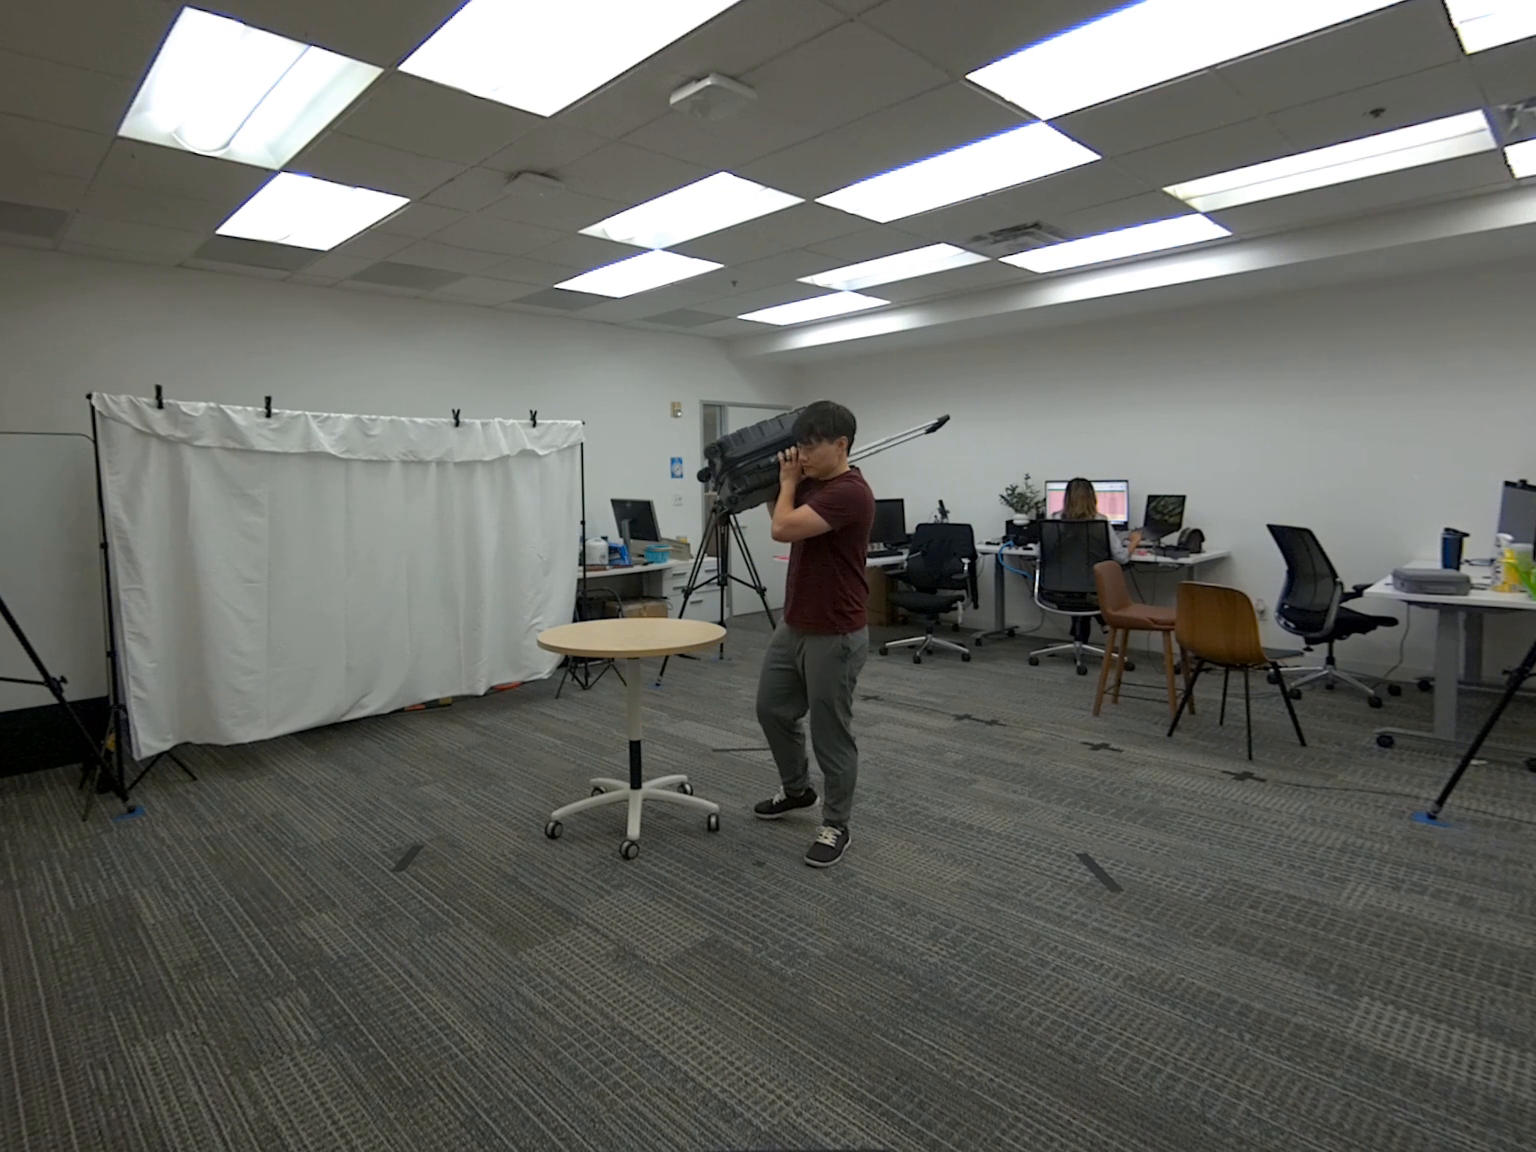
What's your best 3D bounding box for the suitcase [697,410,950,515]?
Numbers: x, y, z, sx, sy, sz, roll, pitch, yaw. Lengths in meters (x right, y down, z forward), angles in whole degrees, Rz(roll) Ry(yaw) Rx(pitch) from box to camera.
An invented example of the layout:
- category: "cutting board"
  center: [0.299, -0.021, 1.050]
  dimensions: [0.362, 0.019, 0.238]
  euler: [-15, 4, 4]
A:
- category: "suitcase"
  center: [0.209, -0.534, 3.360]
  dimensions: [0.972, 0.260, 0.382]
  euler: [-23, -8, -11]
